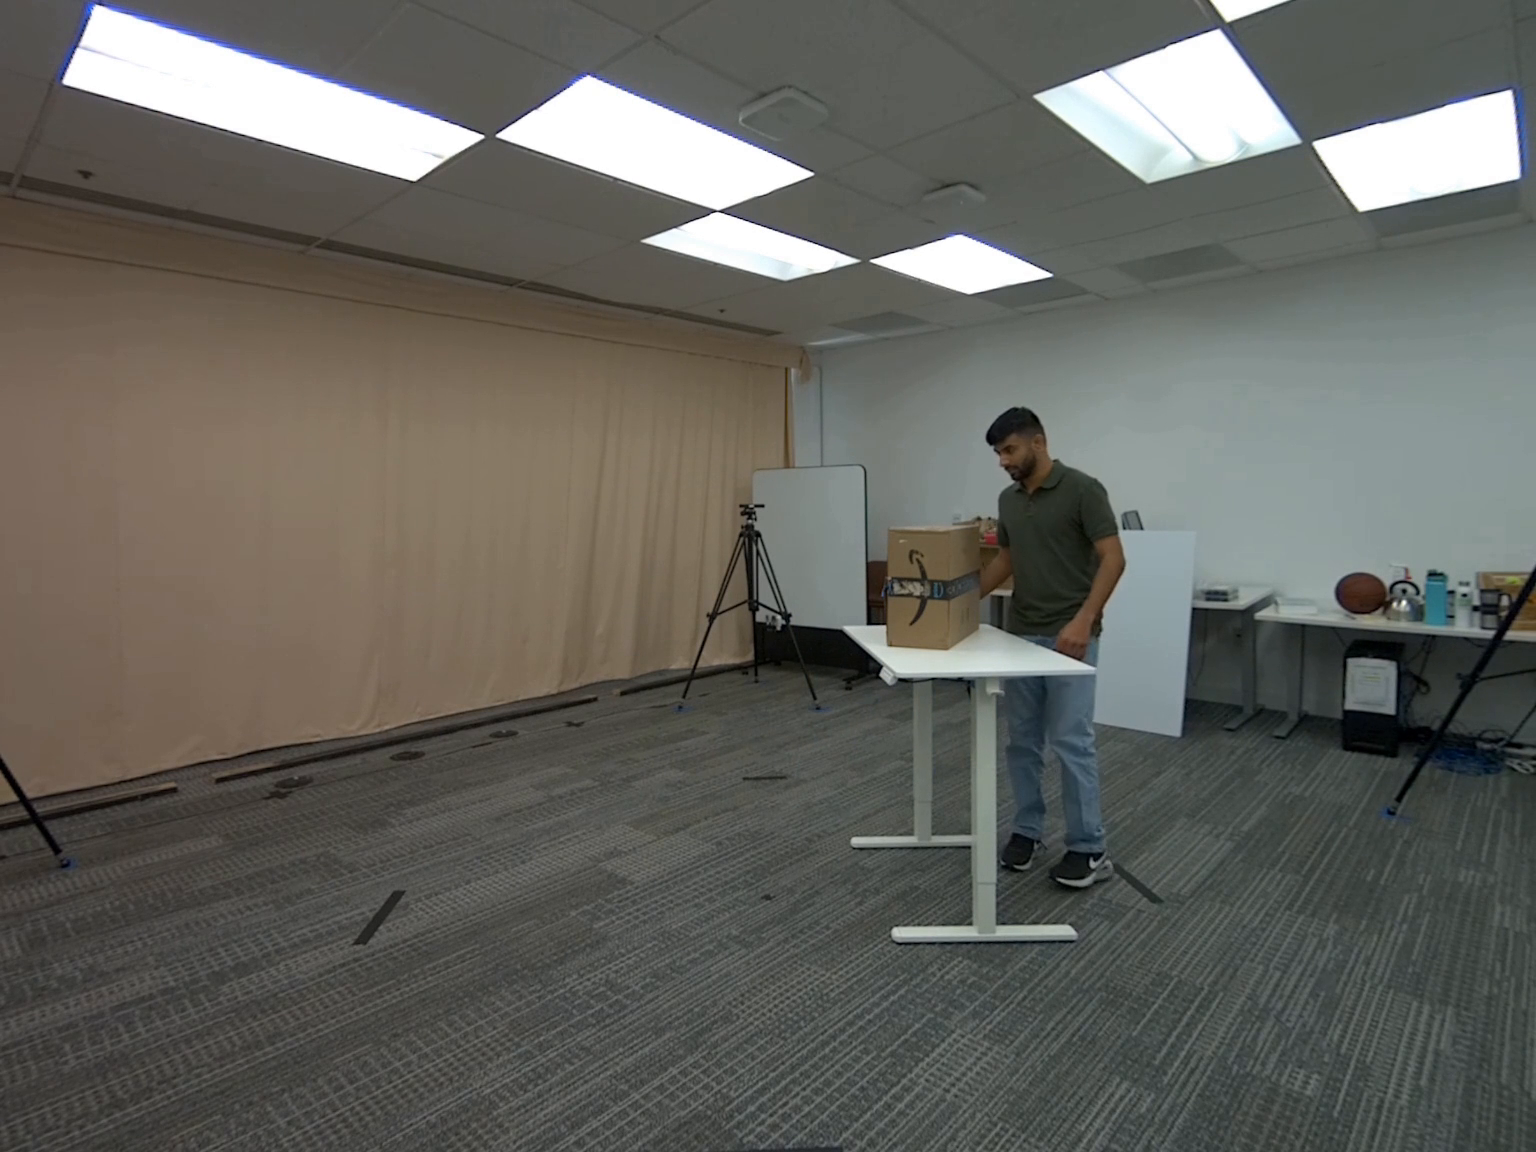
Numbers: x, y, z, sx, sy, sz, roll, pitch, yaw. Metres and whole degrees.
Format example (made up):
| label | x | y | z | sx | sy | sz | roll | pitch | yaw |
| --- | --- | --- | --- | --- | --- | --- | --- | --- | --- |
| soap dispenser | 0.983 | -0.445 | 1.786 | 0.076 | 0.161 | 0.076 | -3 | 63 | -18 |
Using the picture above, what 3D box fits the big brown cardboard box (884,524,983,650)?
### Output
| label | x | y | z | sx | sy | sz | roll | pitch | yaw |
| --- | --- | --- | --- | --- | --- | --- | --- | --- | --- |
| big brown cardboard box | 0.632 | 0.028 | 3.159 | 0.239 | 0.417 | 0.575 | 2 | 4 | 25 |
